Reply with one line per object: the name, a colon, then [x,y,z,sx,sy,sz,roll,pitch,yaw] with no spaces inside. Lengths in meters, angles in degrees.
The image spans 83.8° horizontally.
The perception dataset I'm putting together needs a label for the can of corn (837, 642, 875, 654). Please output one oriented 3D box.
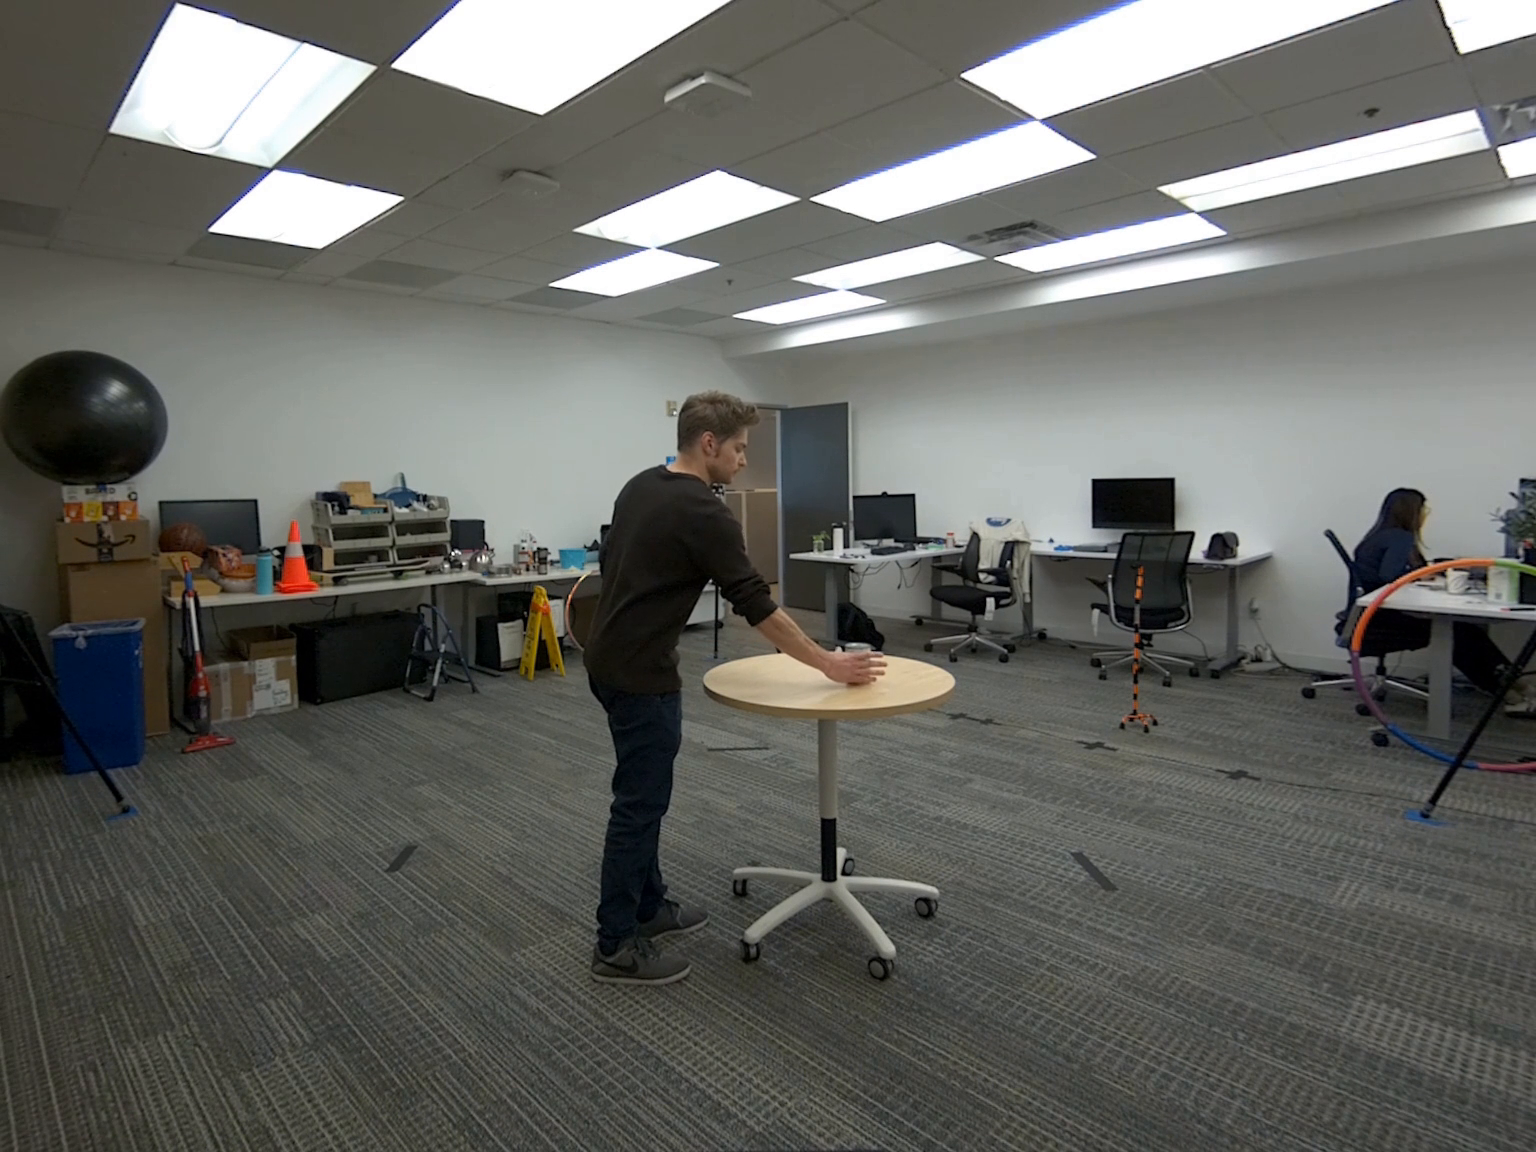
can of corn: [0.274,0.263,2.540,0.074,0.110,0.075,-2,6,-1]
